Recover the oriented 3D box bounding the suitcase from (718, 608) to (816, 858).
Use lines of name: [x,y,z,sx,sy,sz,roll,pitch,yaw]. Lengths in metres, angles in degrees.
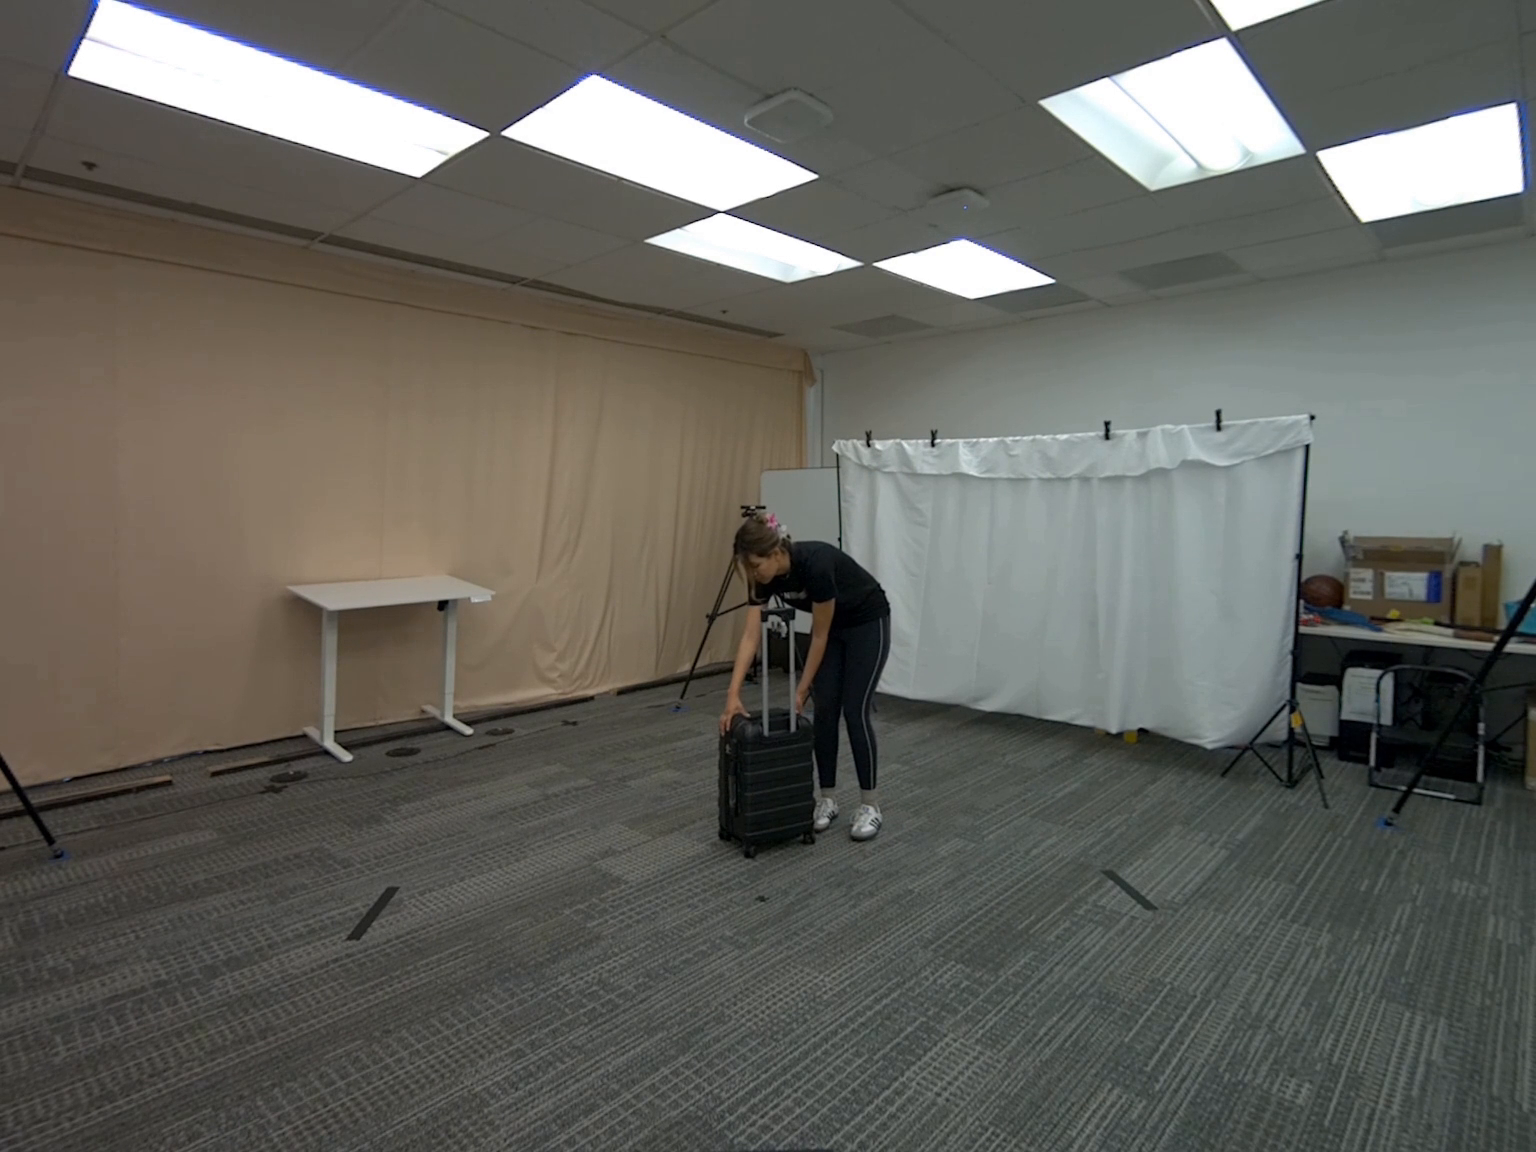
suitcase: [-0.013,0.629,3.457,0.375,0.977,0.264,-2,3,-26]
